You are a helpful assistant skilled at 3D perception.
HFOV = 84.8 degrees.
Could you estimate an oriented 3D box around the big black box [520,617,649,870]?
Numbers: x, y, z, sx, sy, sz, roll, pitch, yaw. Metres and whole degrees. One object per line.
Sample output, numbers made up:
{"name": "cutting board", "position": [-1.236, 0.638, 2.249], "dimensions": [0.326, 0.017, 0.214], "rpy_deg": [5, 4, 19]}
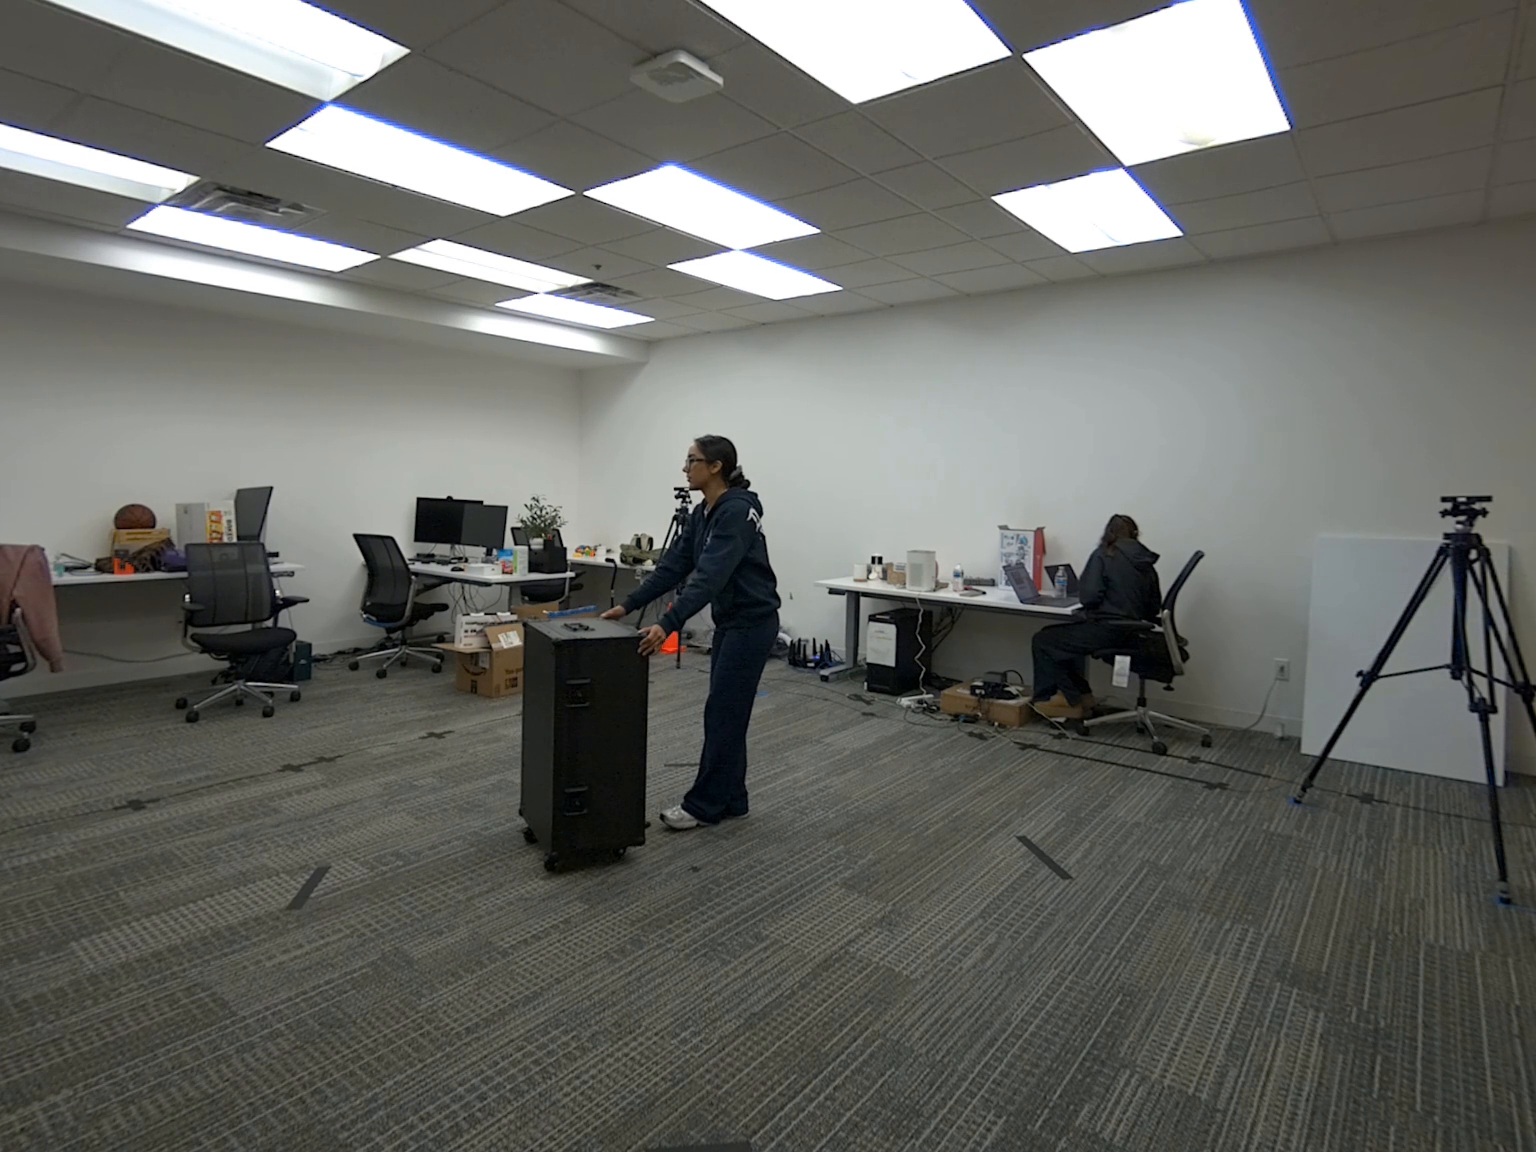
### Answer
{"name": "big black box", "position": [-0.724, 0.620, 3.269], "dimensions": [0.385, 0.860, 0.536], "rpy_deg": [2, 2, -29]}
